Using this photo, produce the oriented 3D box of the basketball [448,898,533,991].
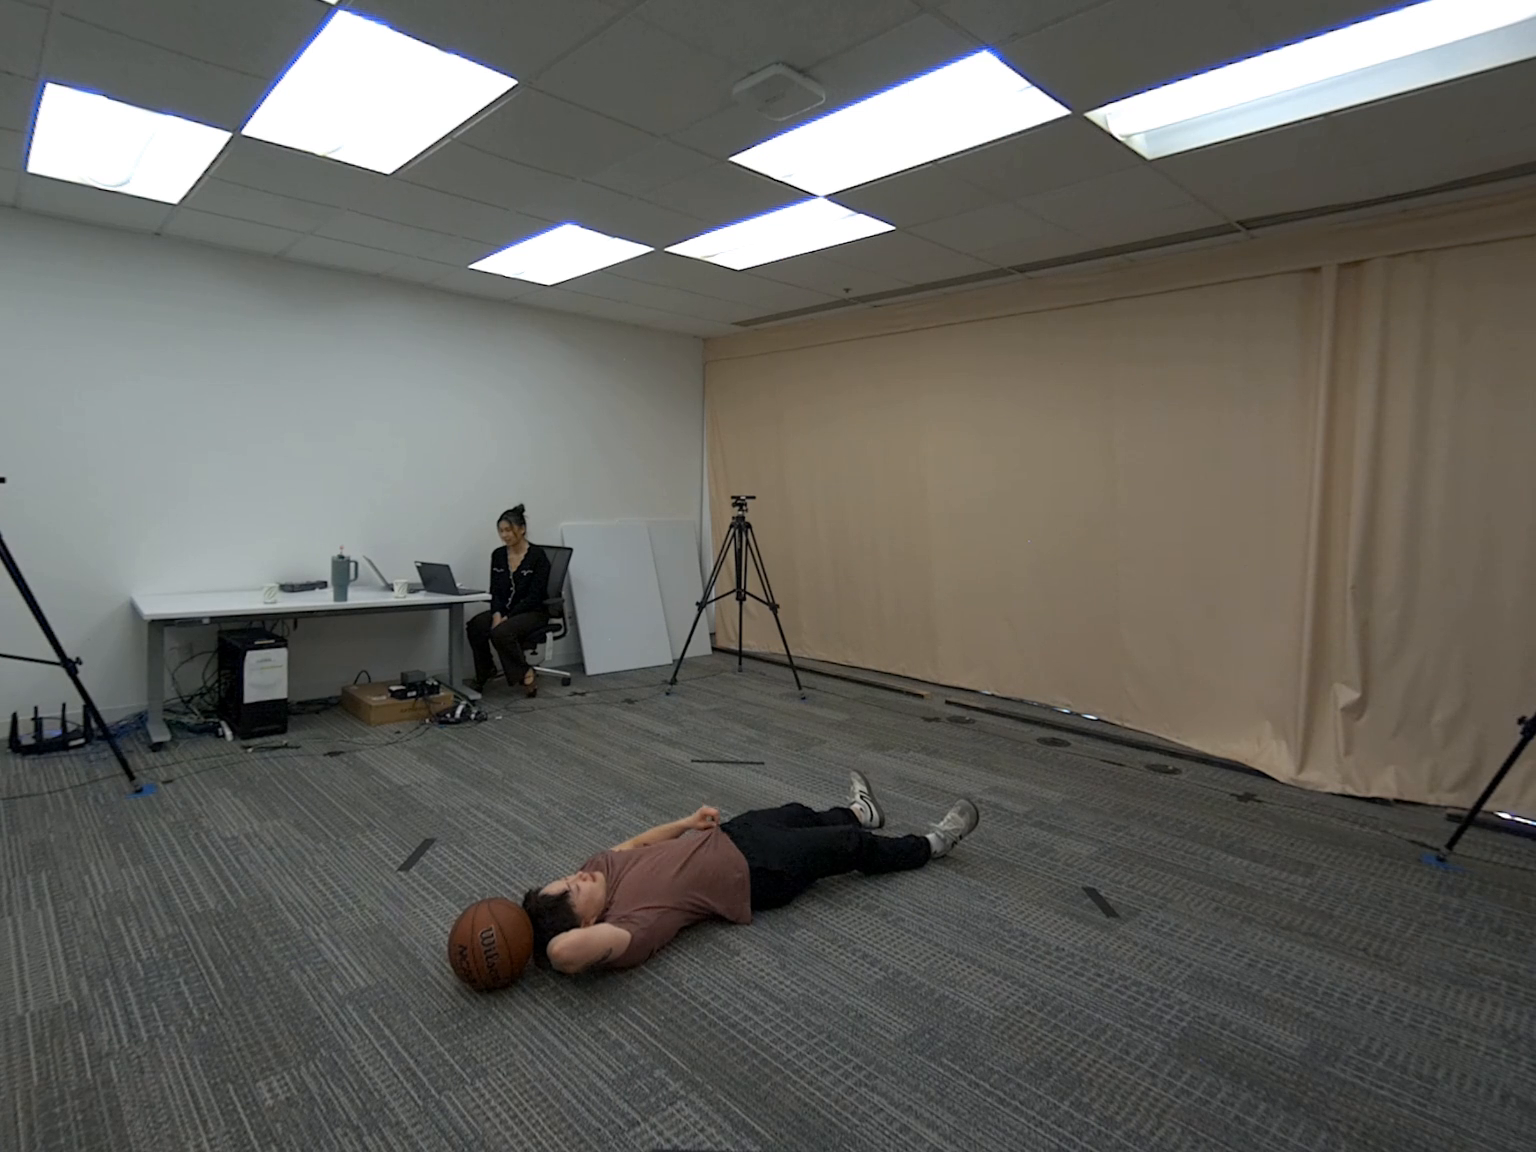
[{"bbox_3d":[-0.785,1.038,2.380,0.236,0.235,0.237,2,4,-2],"label":"basketball"}]
